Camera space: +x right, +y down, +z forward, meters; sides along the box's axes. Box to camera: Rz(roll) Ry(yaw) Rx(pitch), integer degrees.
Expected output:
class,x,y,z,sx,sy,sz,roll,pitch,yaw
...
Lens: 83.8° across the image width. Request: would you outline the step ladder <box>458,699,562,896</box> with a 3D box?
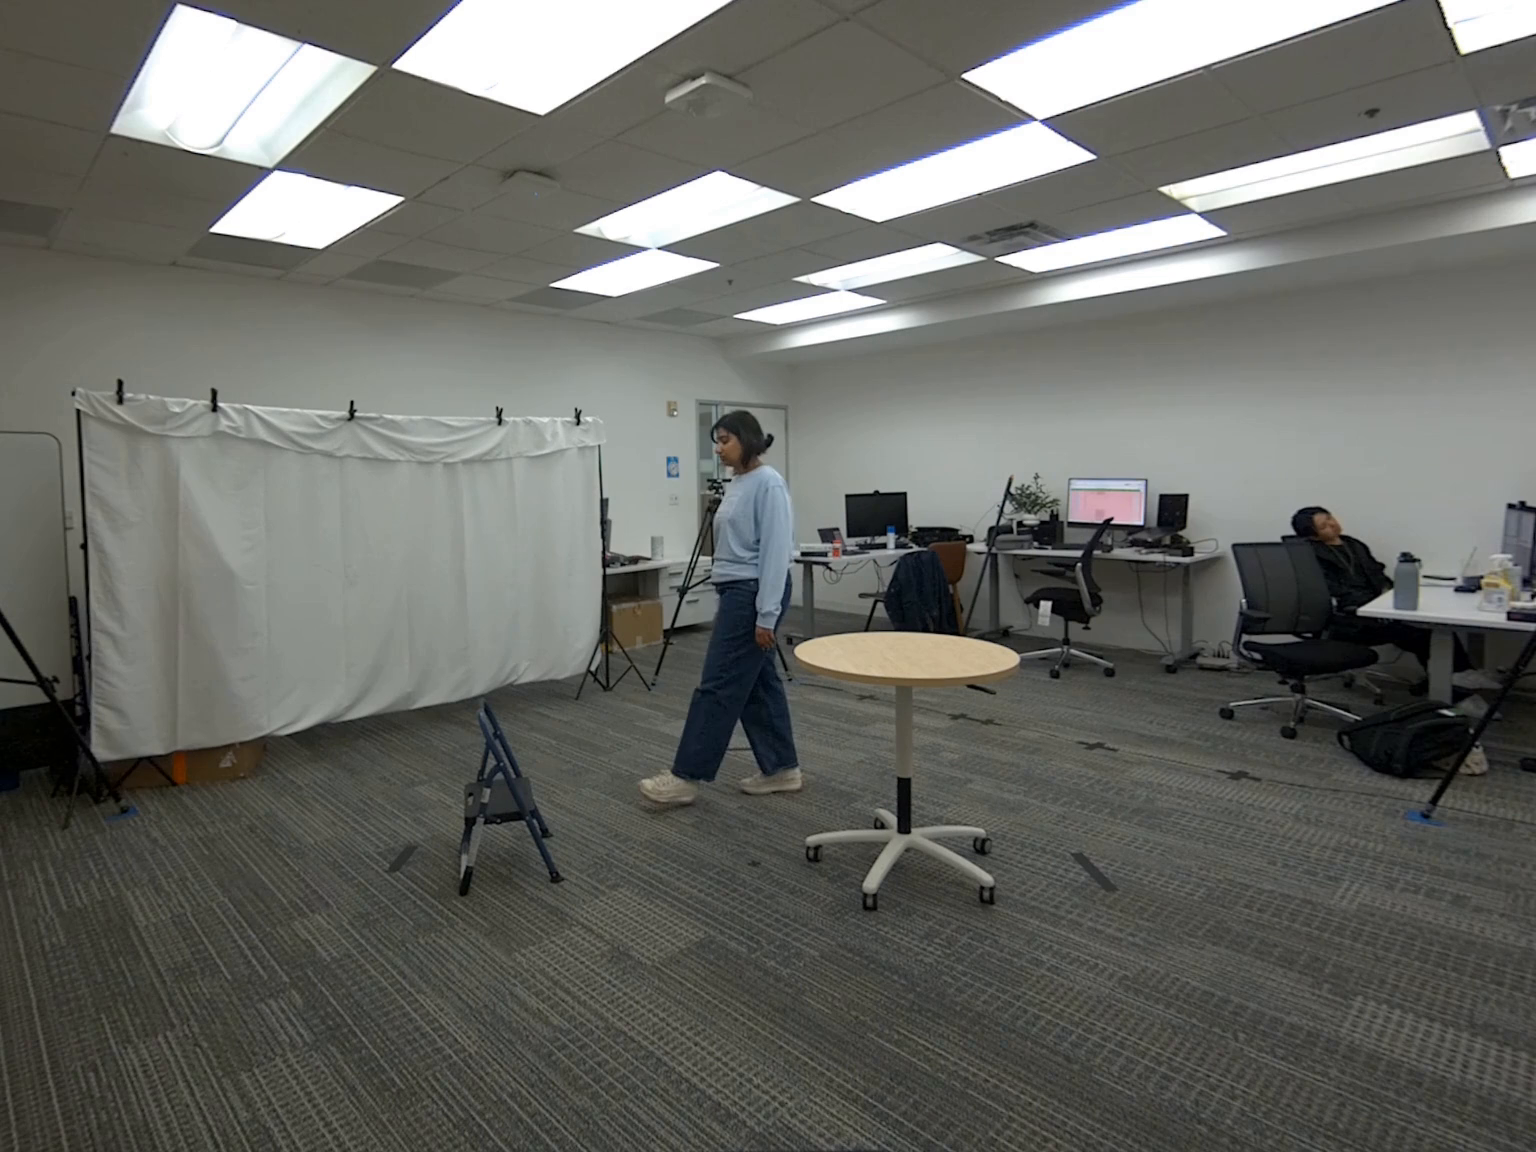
class,x,y,z,sx,sy,sz,roll,pitch,yaw
step ladder,-0.956,0.760,3.130,0.343,0.604,0.439,-3,4,-19
